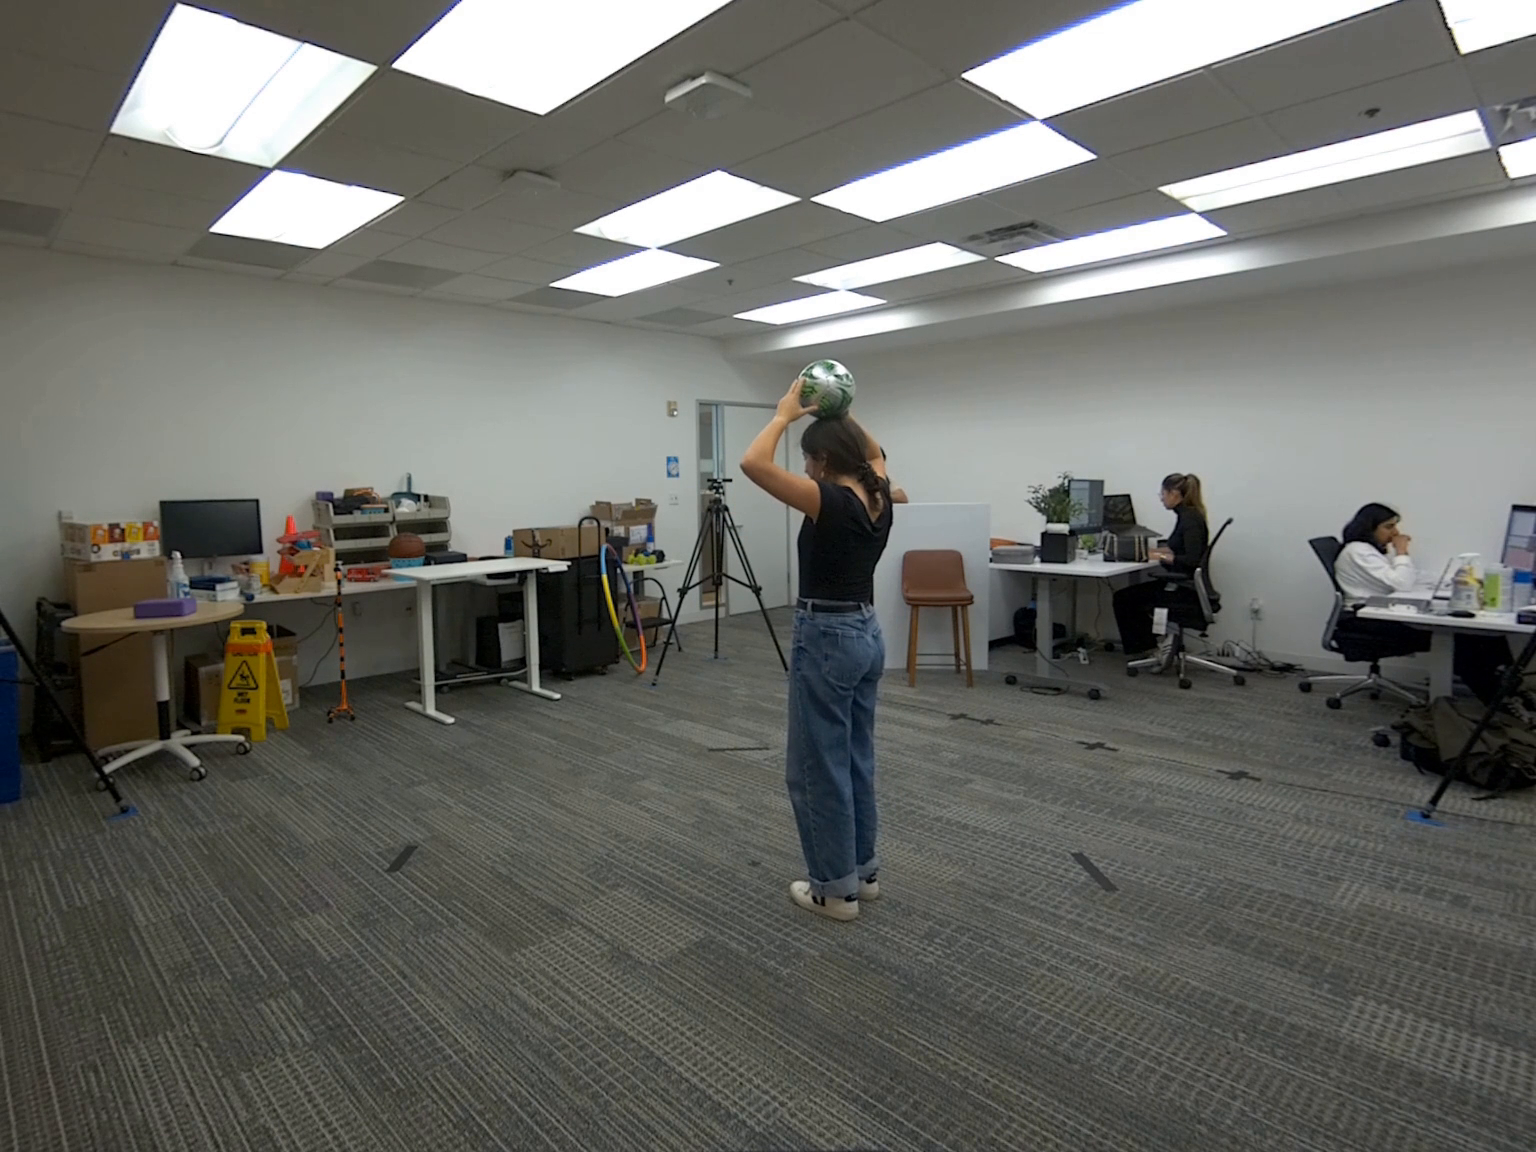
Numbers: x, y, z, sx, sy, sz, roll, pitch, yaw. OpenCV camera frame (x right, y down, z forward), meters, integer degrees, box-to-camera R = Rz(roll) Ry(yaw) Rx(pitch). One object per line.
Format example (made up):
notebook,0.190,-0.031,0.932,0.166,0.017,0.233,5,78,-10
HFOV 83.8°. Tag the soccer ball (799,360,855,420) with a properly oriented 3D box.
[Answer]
soccer ball,0.187,-0.594,2.741,0.187,0.187,0.188,-1,5,-2
